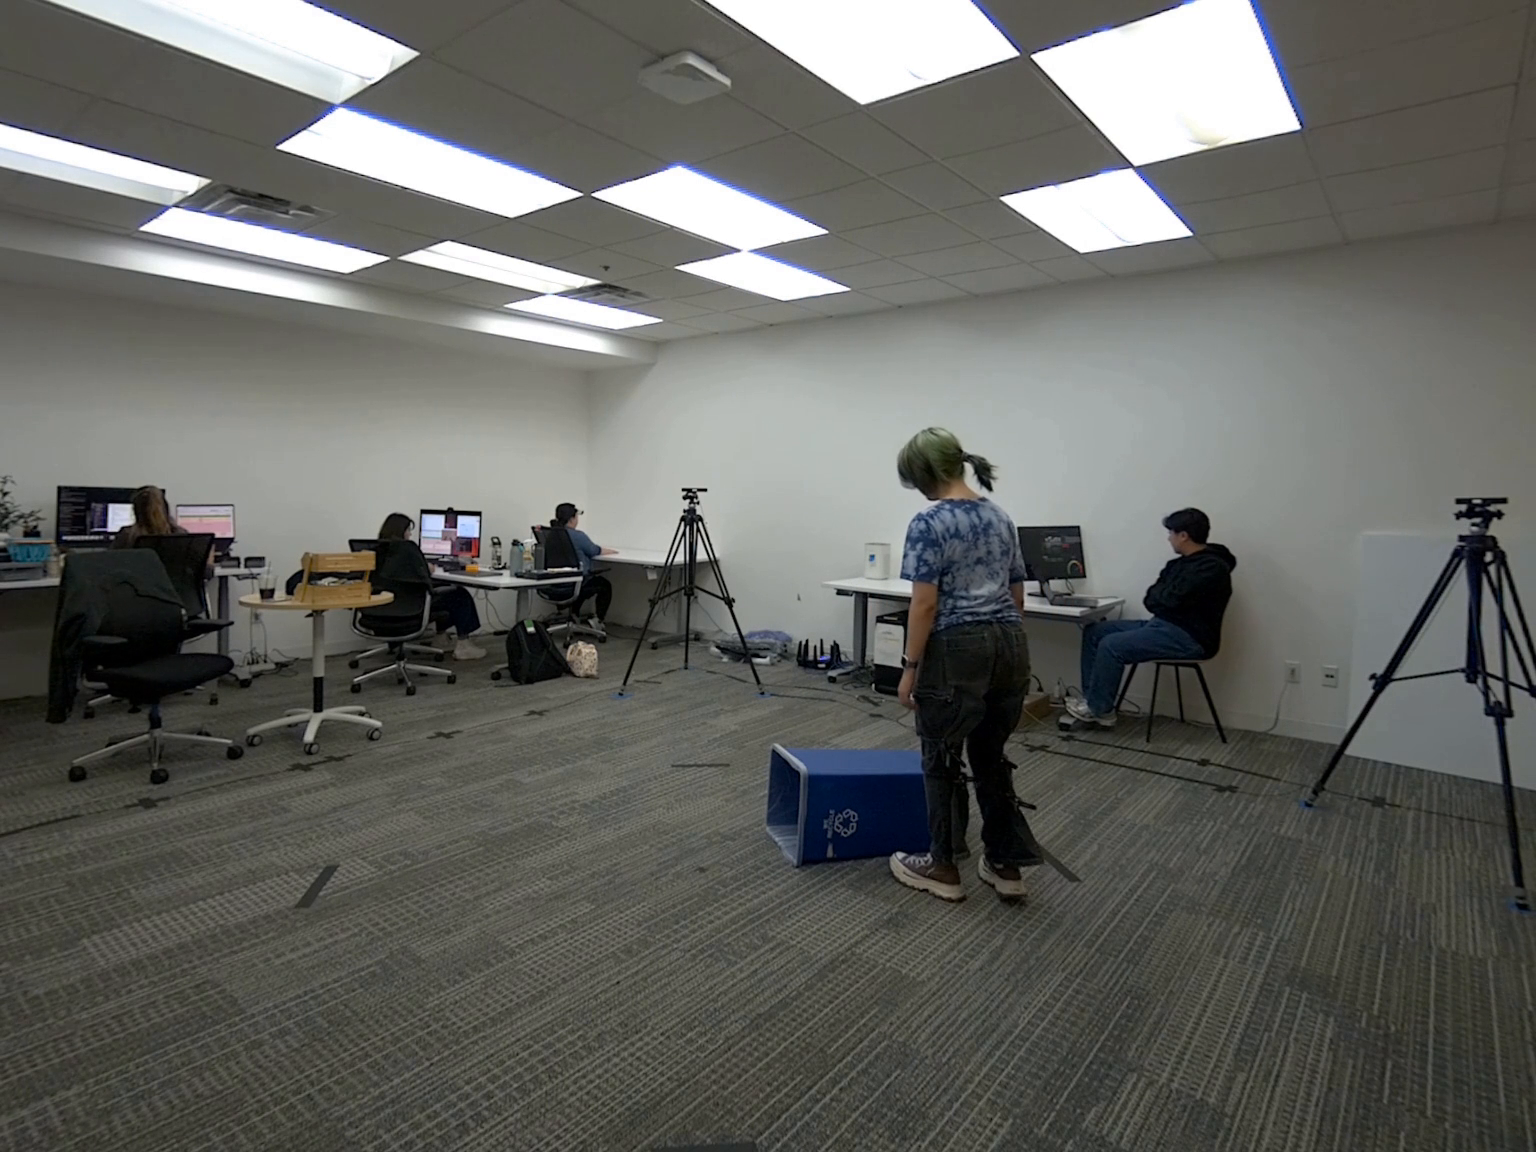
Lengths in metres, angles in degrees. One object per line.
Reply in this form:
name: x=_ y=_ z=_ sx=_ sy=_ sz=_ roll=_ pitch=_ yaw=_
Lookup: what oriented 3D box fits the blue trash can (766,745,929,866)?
blue trash can: x=0.381 y=0.878 z=3.388 sx=0.701 sy=0.373 sz=0.386 roll=2 pitch=4 yaw=-17
